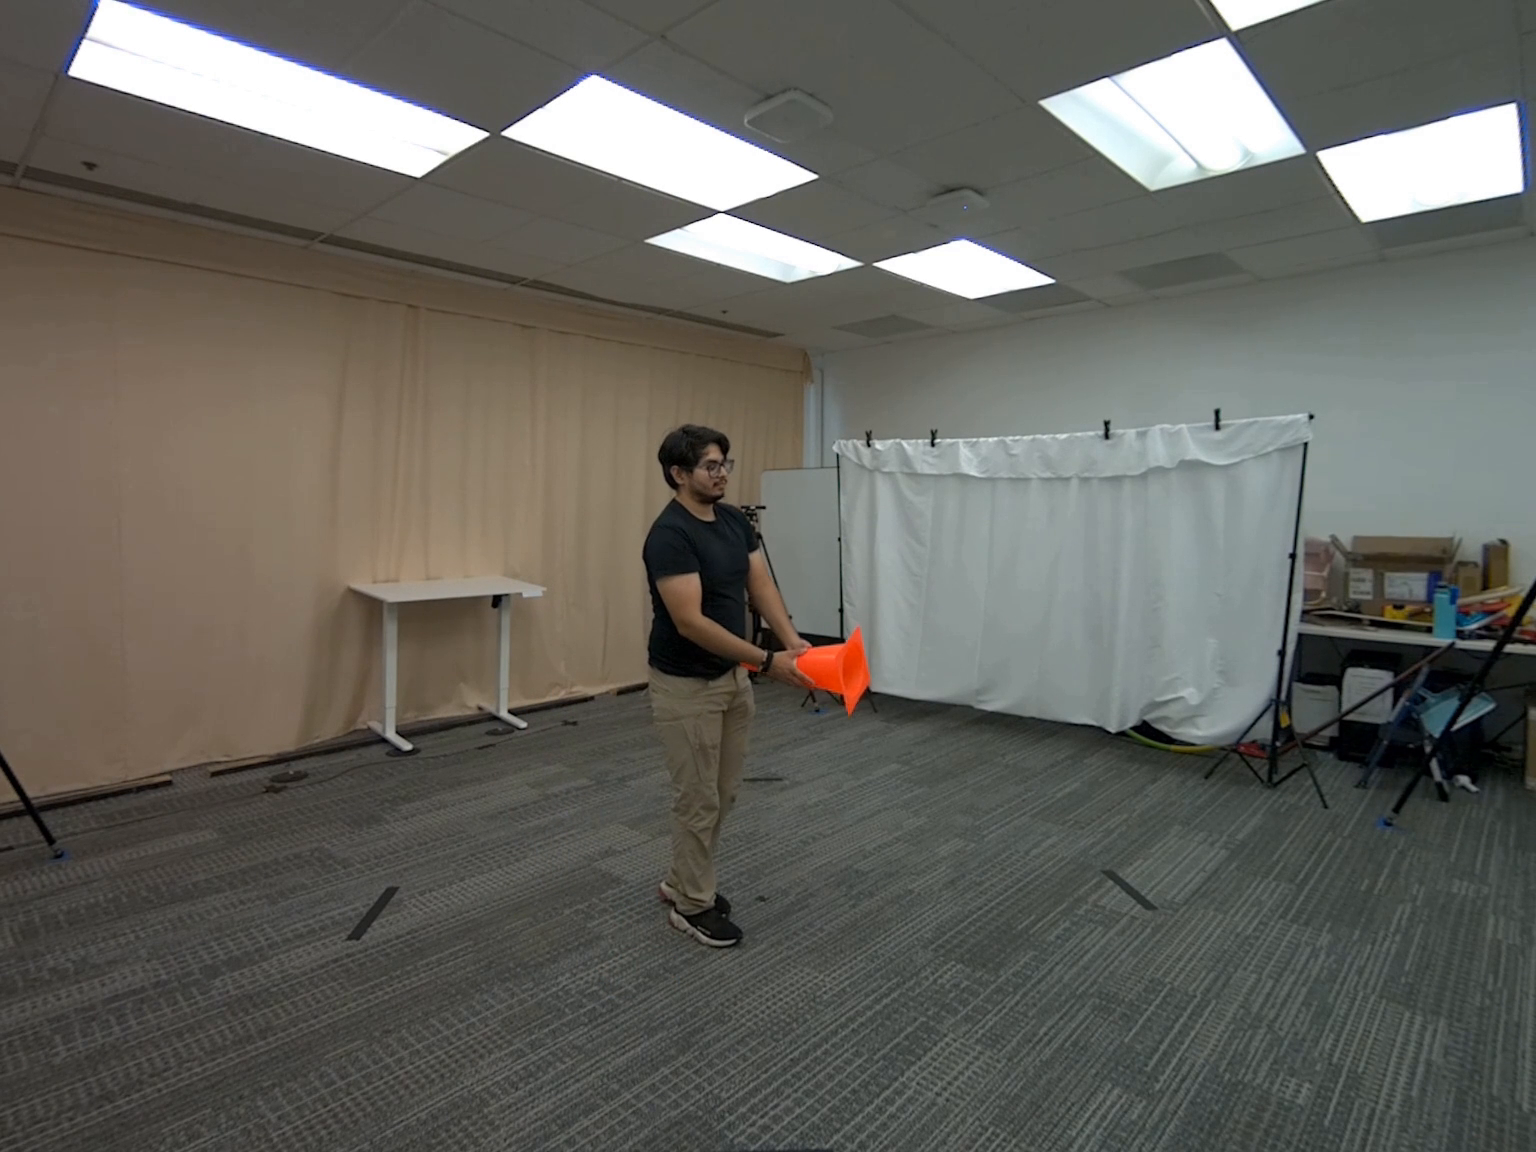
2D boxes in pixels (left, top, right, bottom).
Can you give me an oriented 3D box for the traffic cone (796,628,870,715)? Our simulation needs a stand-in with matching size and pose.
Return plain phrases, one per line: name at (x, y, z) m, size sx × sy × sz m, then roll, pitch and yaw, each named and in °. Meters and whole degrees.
traffic cone at (0.092, 0.278, 2.580) m, size 0.395 × 0.200 × 0.202 m, roll 1°, pitch 25°, yaw 30°
